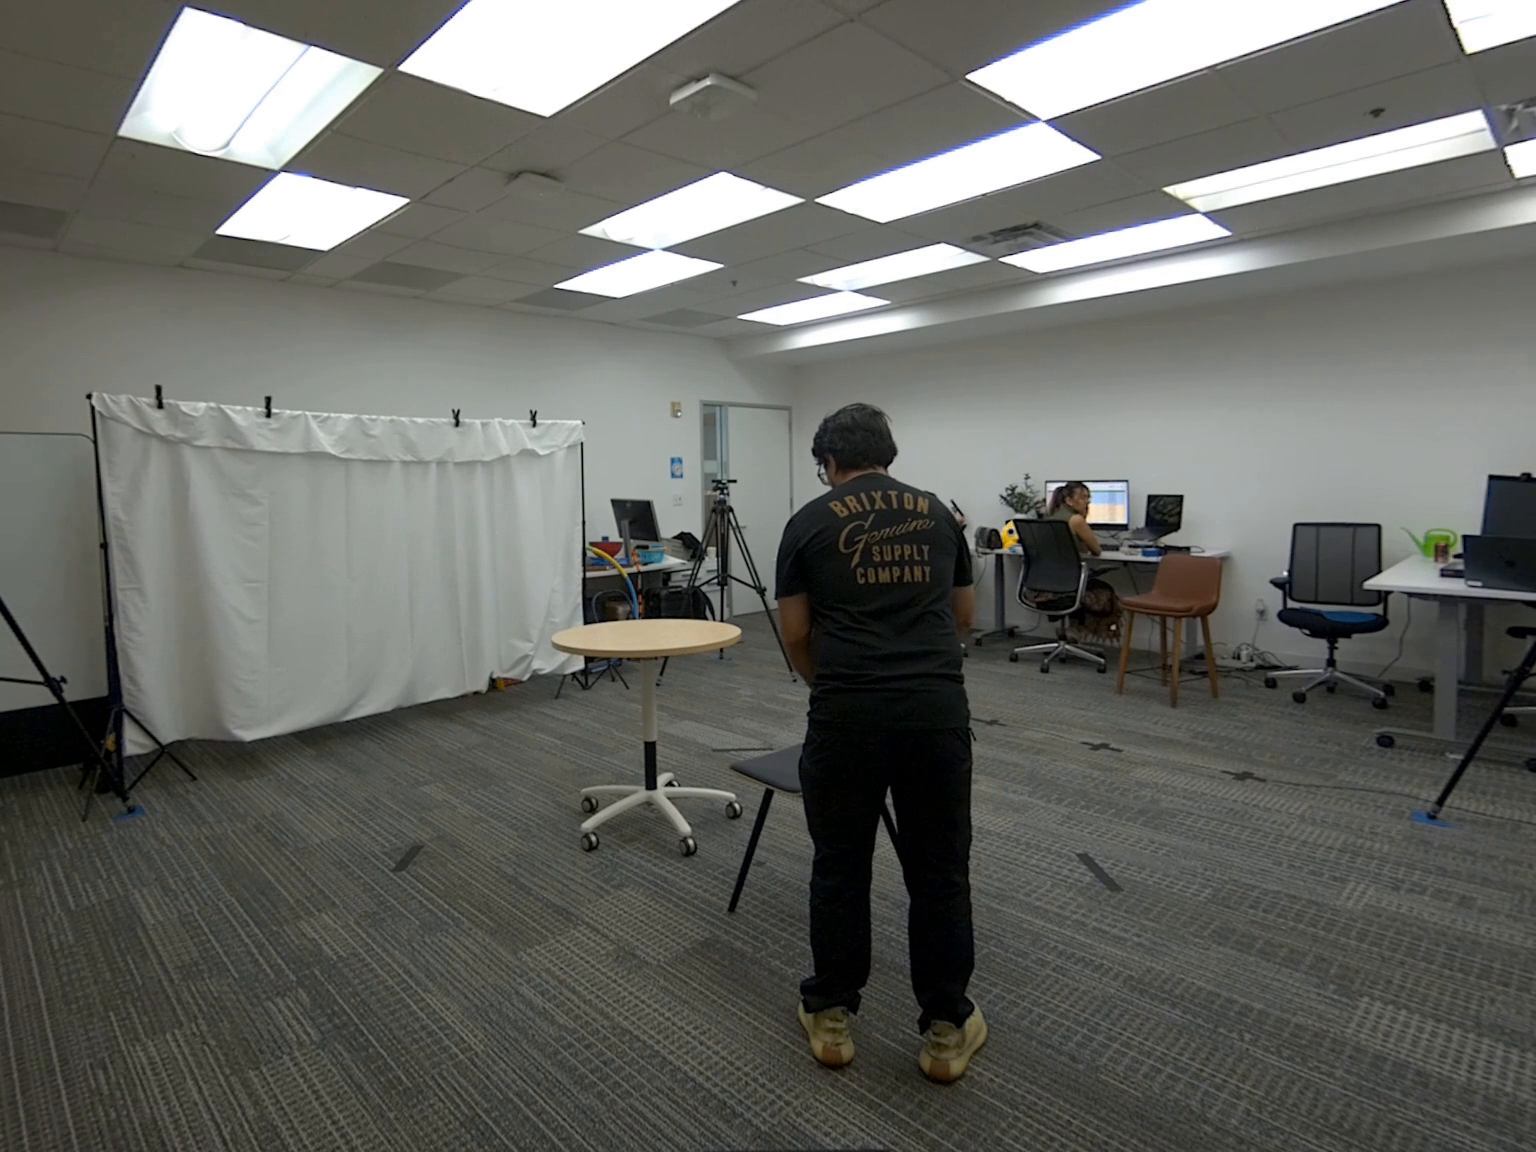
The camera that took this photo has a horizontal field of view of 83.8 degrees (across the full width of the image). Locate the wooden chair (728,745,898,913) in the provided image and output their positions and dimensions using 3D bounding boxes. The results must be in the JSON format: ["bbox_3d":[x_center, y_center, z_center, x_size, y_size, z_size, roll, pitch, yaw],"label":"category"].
[{"bbox_3d":[0.185,0.661,2.715,0.465,0.871,0.541,-5,11,-43],"label":"wooden chair"}]
